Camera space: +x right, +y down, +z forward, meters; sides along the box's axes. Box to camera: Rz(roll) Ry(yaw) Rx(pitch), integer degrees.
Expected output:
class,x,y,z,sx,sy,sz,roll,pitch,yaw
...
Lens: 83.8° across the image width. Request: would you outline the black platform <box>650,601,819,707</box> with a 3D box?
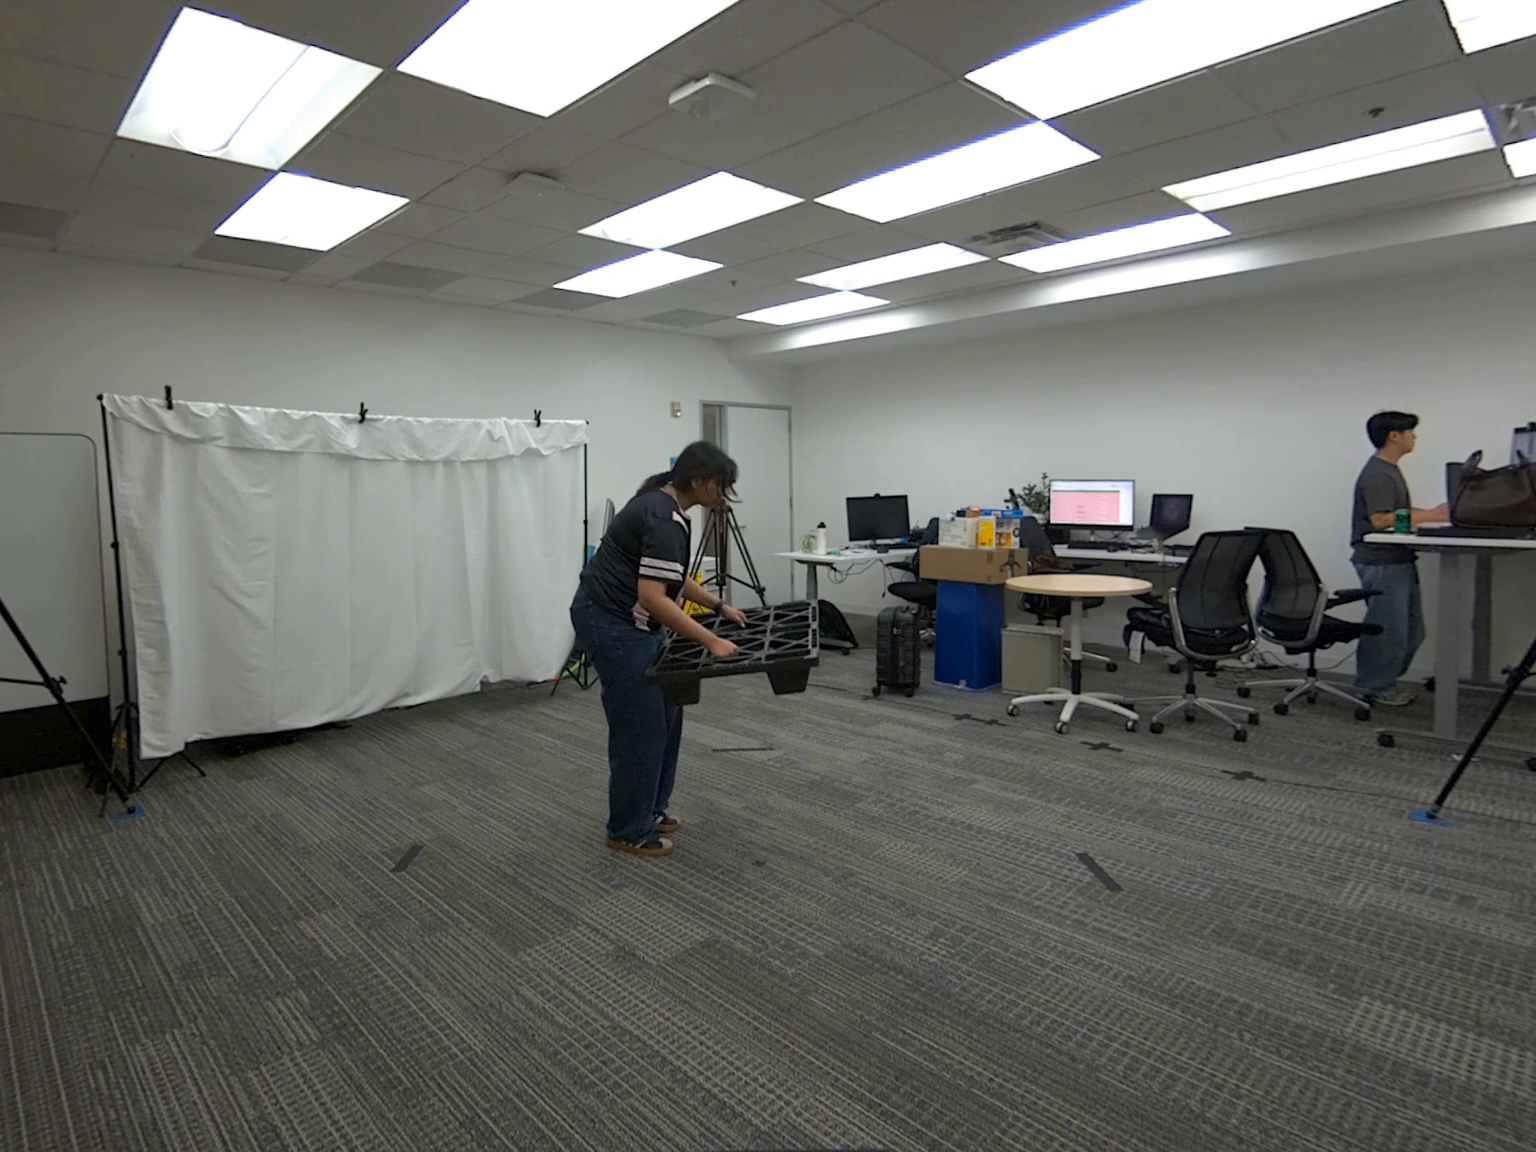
class,x,y,z,sx,sy,sz,roll,pitch,yaw
black platform,-0.097,0.294,3.266,0.609,0.142,0.808,-7,11,7
